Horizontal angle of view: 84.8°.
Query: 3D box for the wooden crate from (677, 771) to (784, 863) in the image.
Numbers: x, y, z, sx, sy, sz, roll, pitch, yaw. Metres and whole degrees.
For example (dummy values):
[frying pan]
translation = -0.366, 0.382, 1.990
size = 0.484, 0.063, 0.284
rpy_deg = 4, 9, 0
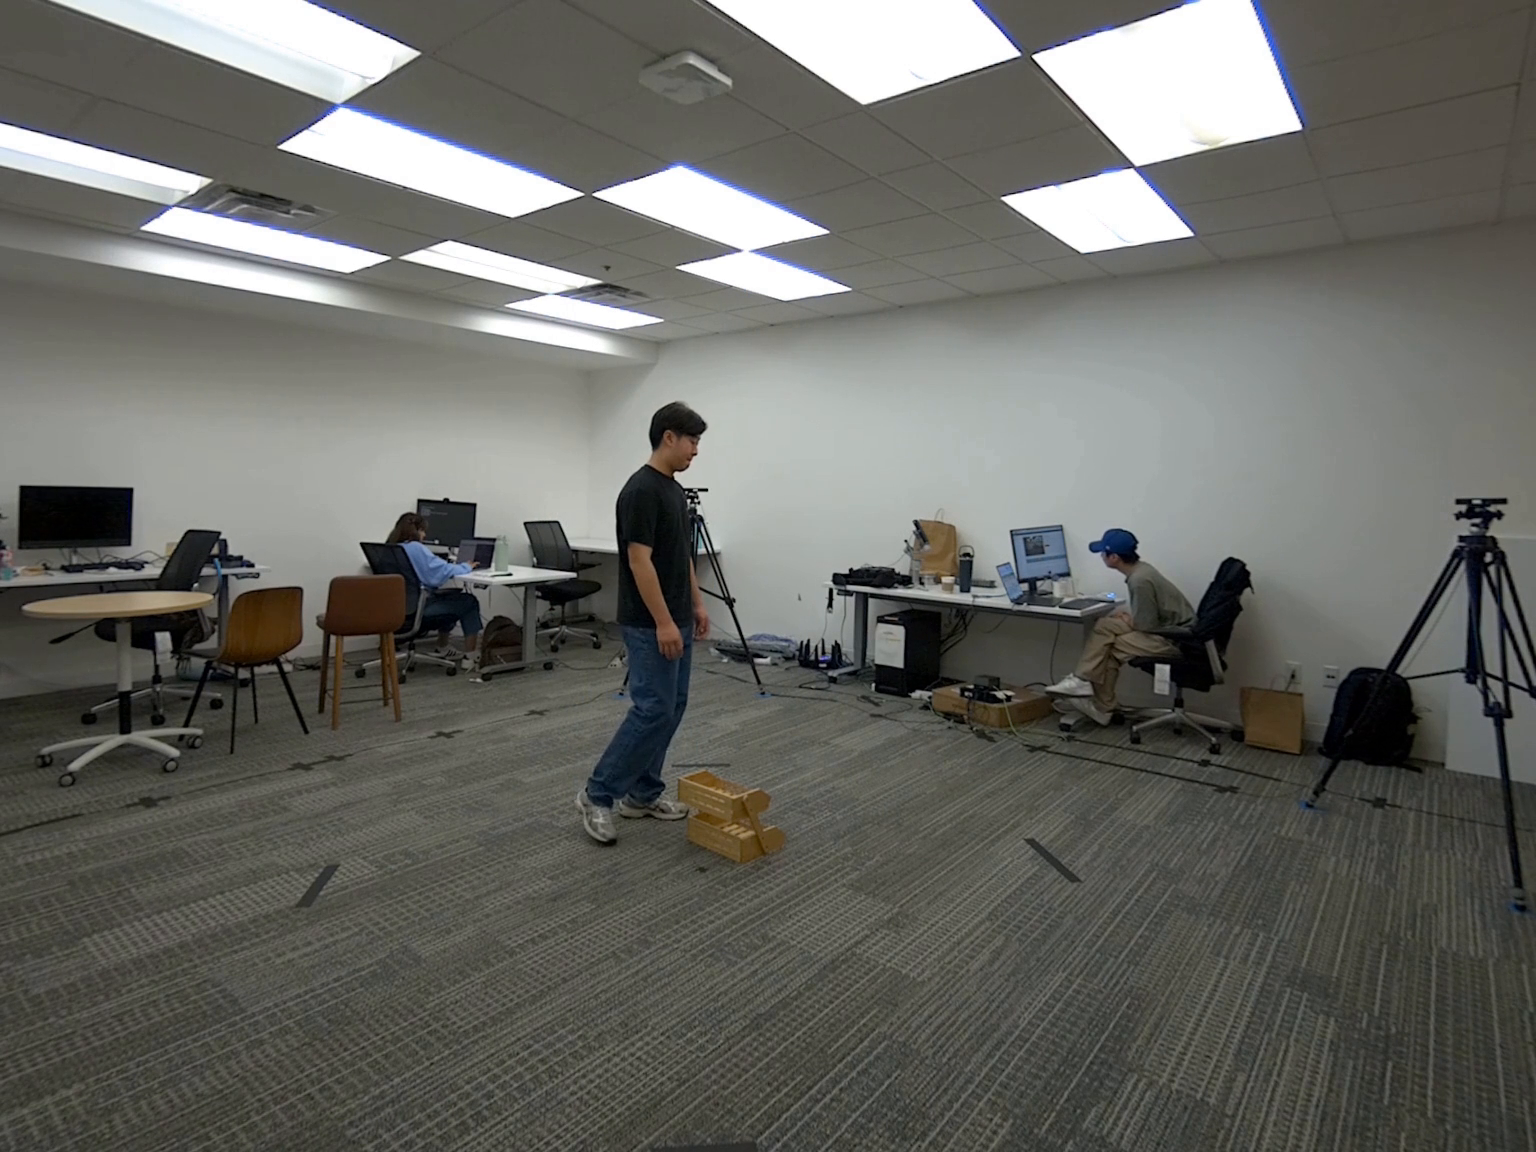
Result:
[wooden crate]
translation = -0.150, 0.916, 3.332
size = 0.335, 0.272, 0.293
rpy_deg = 5, 6, 43
